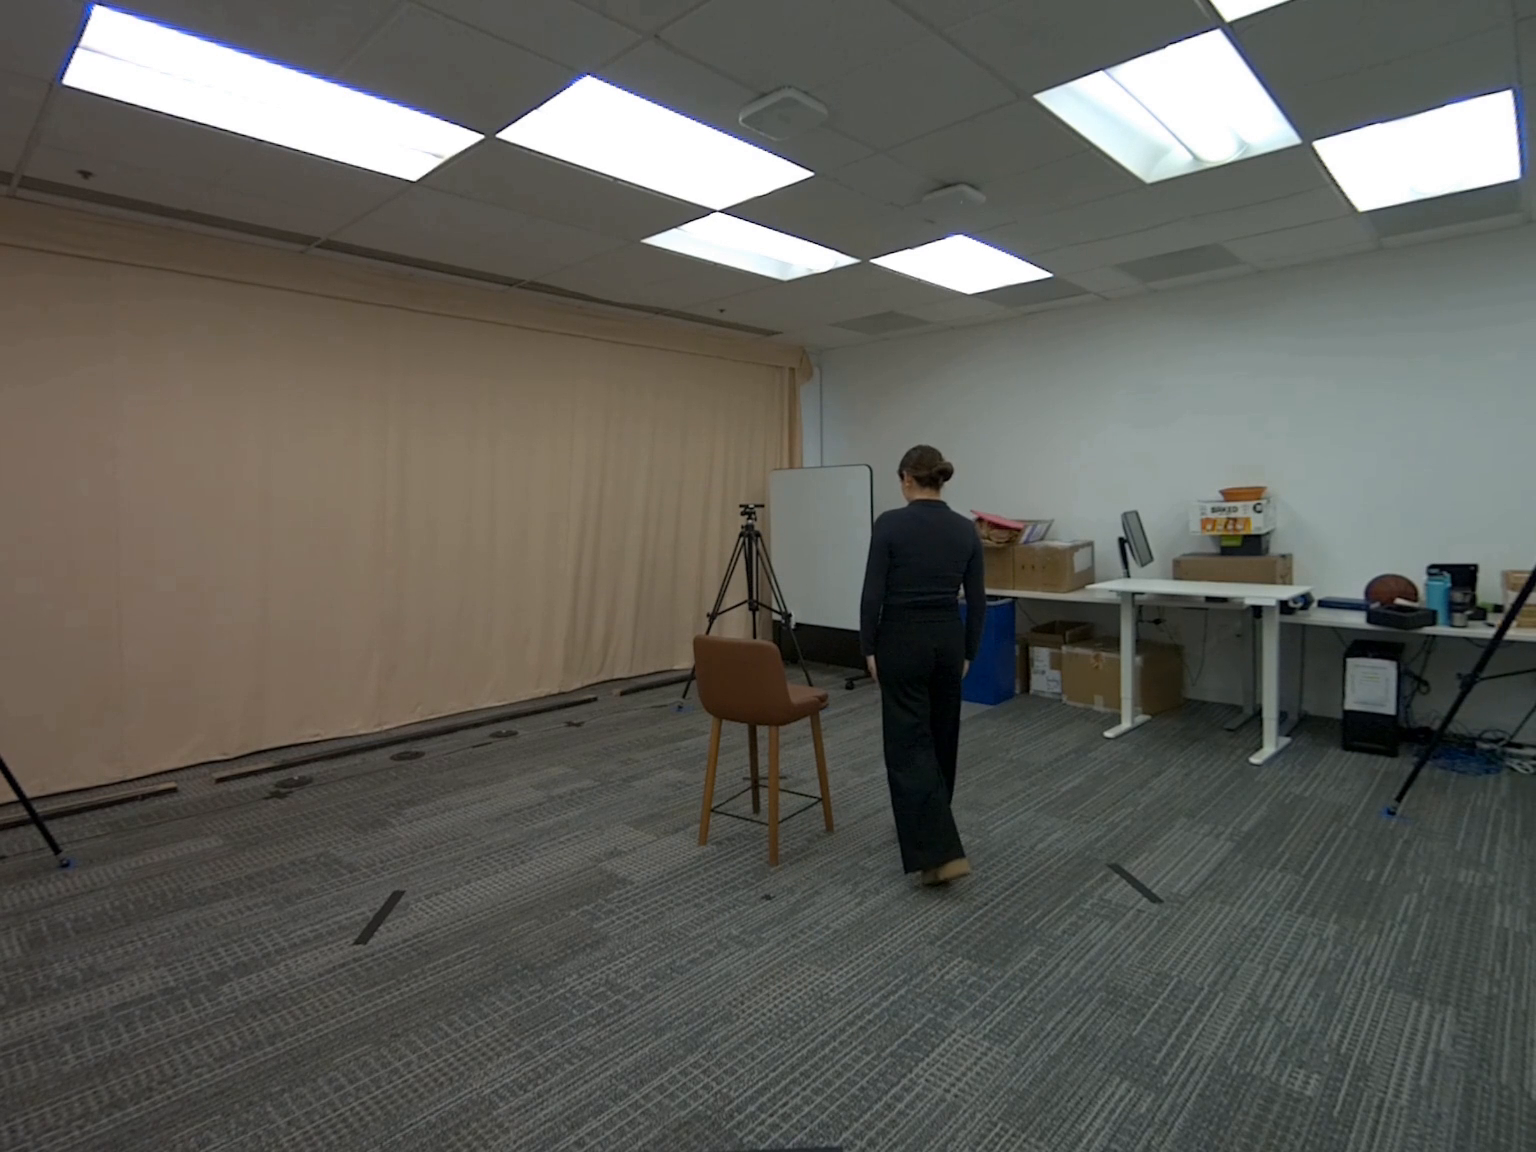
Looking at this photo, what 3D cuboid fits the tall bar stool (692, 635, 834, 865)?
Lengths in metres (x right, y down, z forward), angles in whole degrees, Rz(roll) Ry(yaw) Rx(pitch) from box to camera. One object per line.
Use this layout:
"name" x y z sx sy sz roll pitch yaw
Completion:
"tall bar stool" -0.019 0.662 3.510 0.471 0.887 0.454 1 5 35
